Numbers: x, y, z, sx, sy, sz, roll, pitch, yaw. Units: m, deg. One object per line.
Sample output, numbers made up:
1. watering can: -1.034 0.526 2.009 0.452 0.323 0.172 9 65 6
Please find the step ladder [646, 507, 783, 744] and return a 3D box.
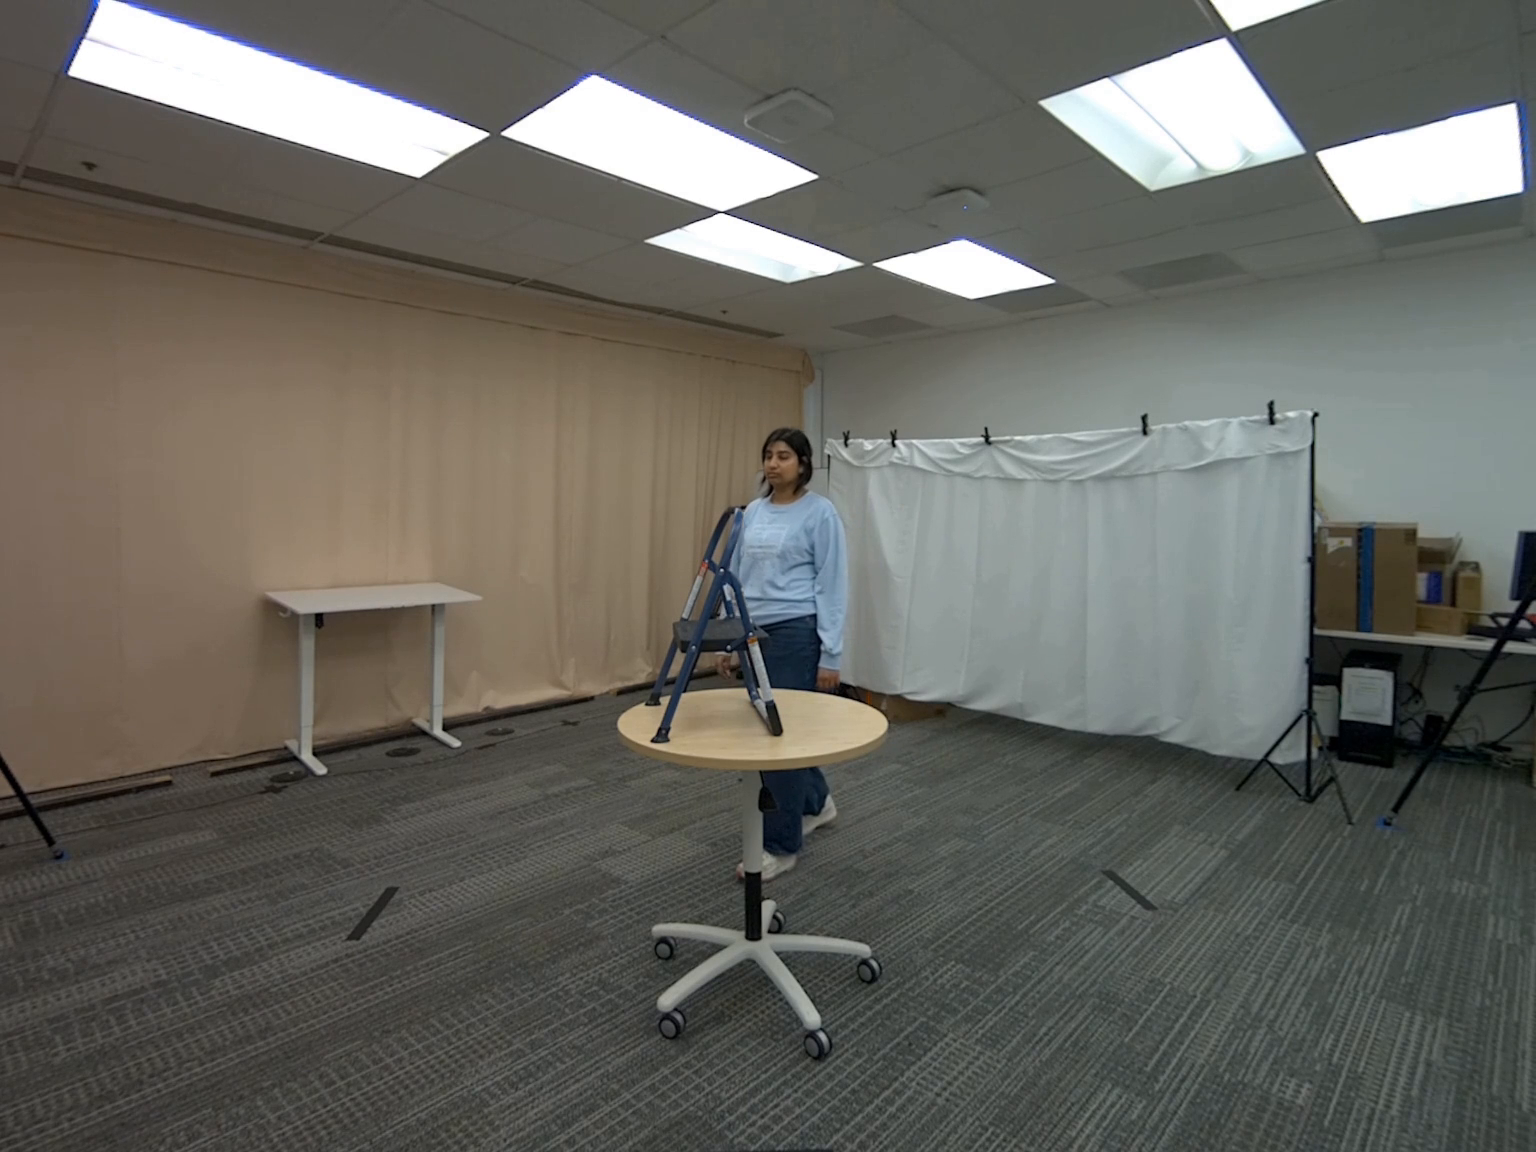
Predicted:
1. step ladder: -0.162 0.109 2.386 0.346 0.605 0.436 -2 4 -10
